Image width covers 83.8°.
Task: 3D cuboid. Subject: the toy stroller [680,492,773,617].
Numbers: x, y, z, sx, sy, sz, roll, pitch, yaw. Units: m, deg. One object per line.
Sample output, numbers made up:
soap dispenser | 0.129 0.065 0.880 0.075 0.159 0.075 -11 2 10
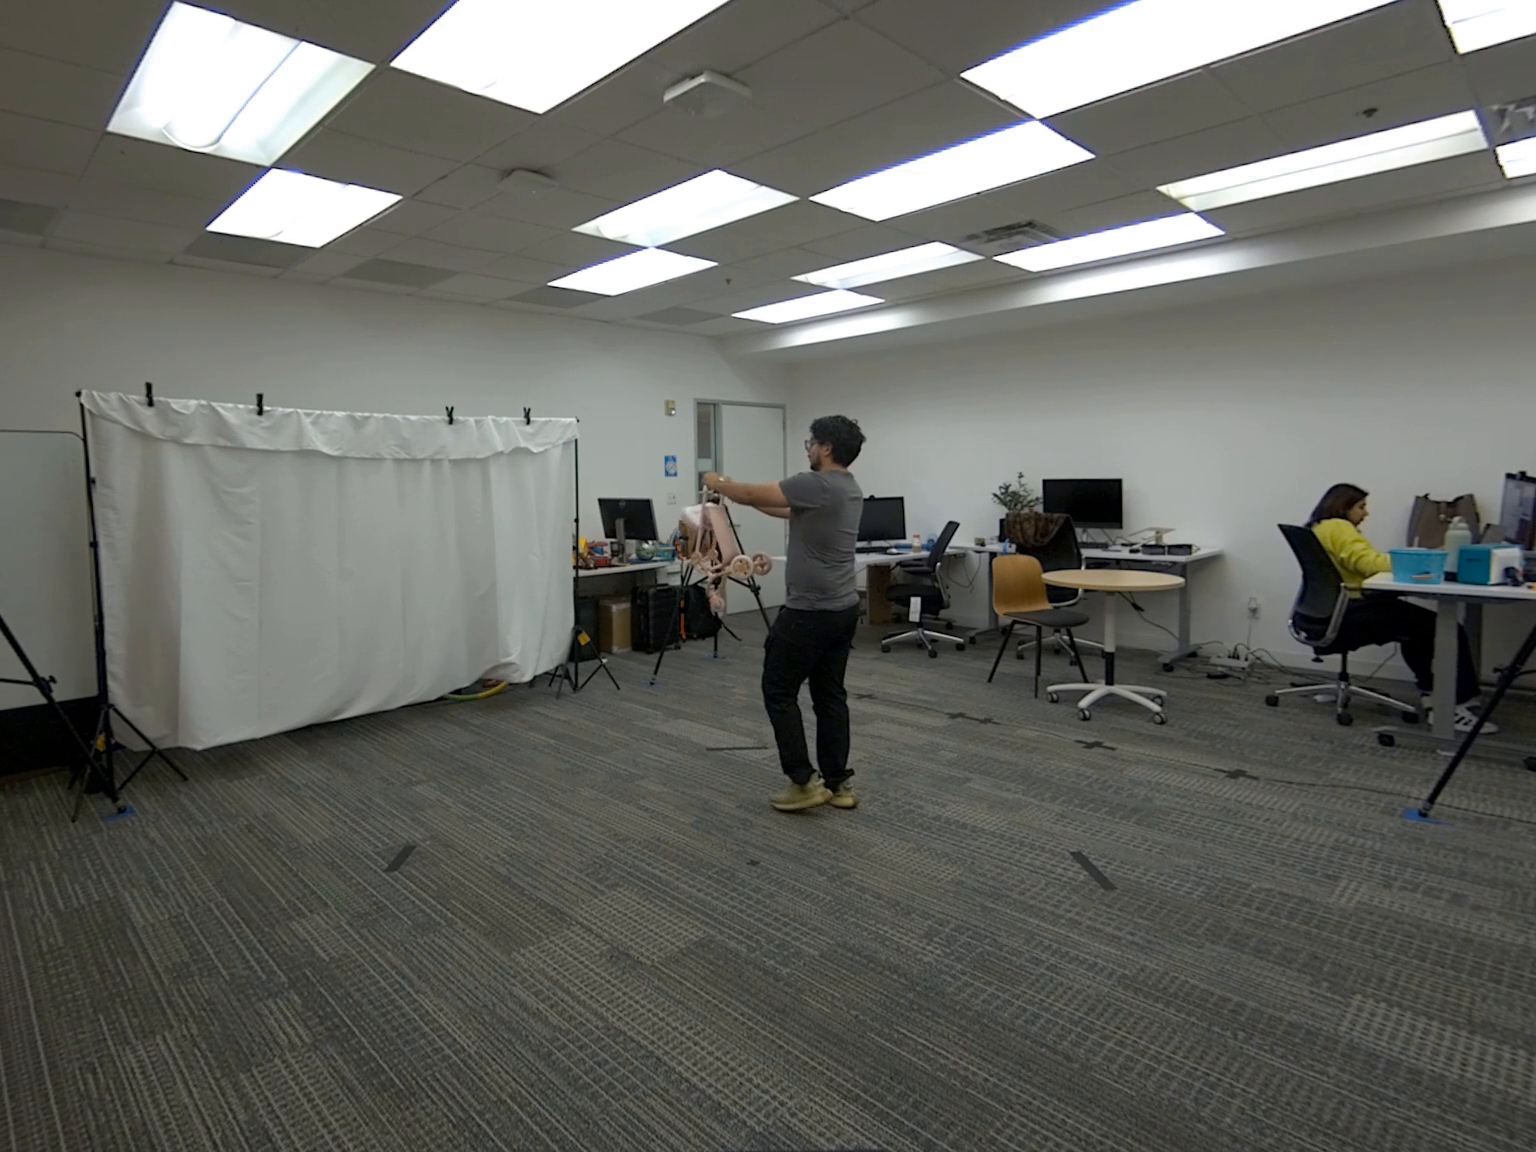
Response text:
toy stroller | -0.234 -0.132 3.913 0.344 0.541 0.276 -31 -9 25
